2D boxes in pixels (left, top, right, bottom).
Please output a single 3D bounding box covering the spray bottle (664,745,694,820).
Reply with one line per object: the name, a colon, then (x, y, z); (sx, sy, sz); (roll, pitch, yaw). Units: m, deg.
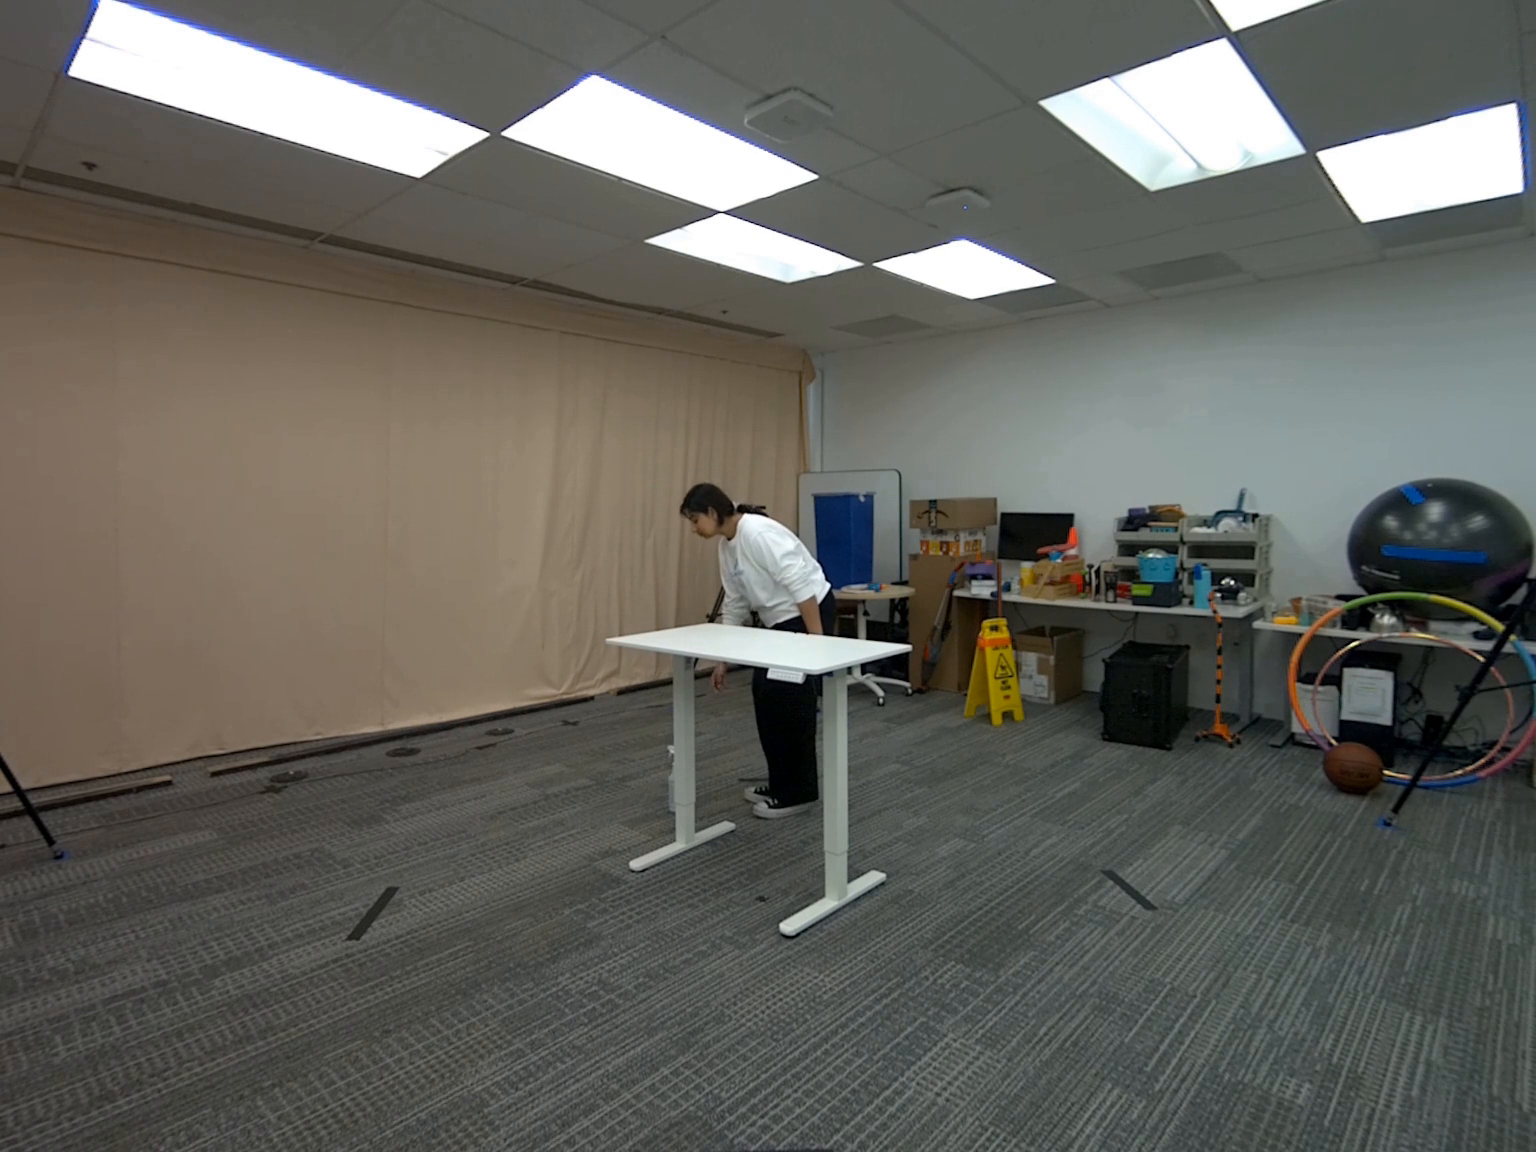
spray bottle: (-0.405, 0.930, 3.837); (0.084, 0.297, 0.093); (-3, 2, -38)
